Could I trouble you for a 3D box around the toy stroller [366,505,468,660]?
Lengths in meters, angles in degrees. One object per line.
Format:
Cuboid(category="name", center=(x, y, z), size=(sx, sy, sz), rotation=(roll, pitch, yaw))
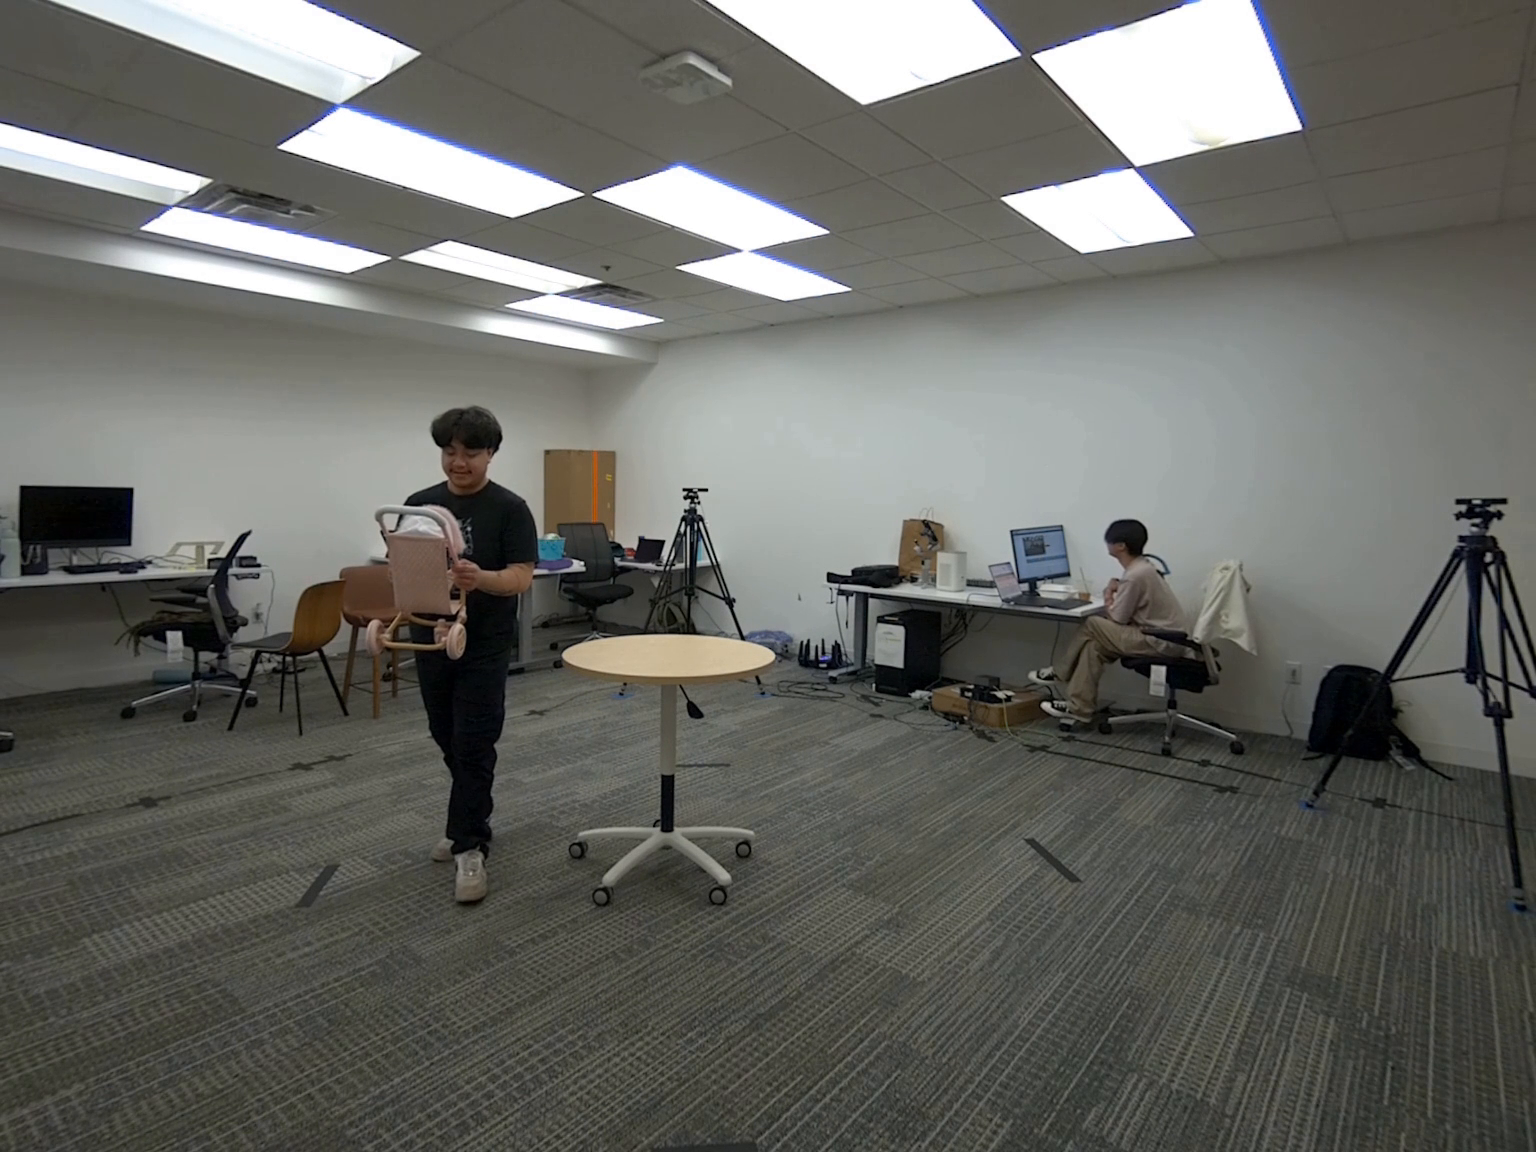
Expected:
Cuboid(category="toy stroller", center=(-1.086, 0.019, 2.677), size=(0.282, 0.529, 0.344), rotation=(3, 12, 1))
